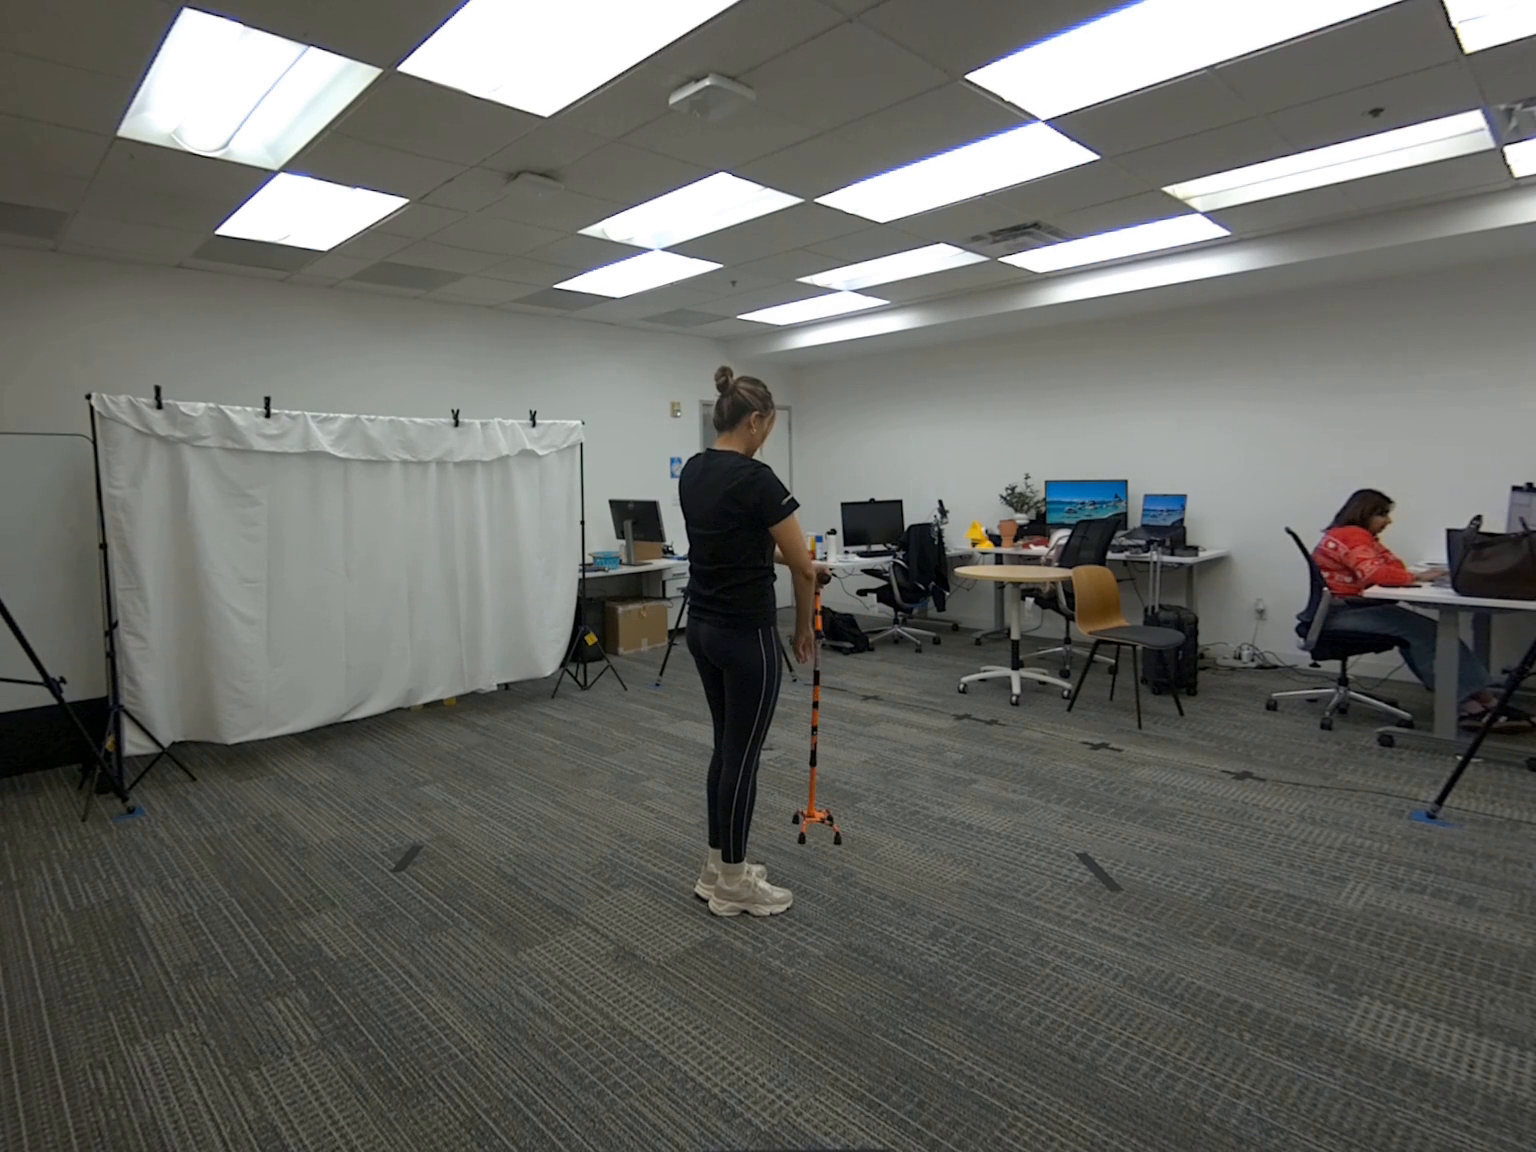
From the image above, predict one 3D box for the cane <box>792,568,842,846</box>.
[{"bbox_3d":[0.182,0.444,2.959,0.151,0.907,0.207,1,1,-5],"label":"cane"}]
